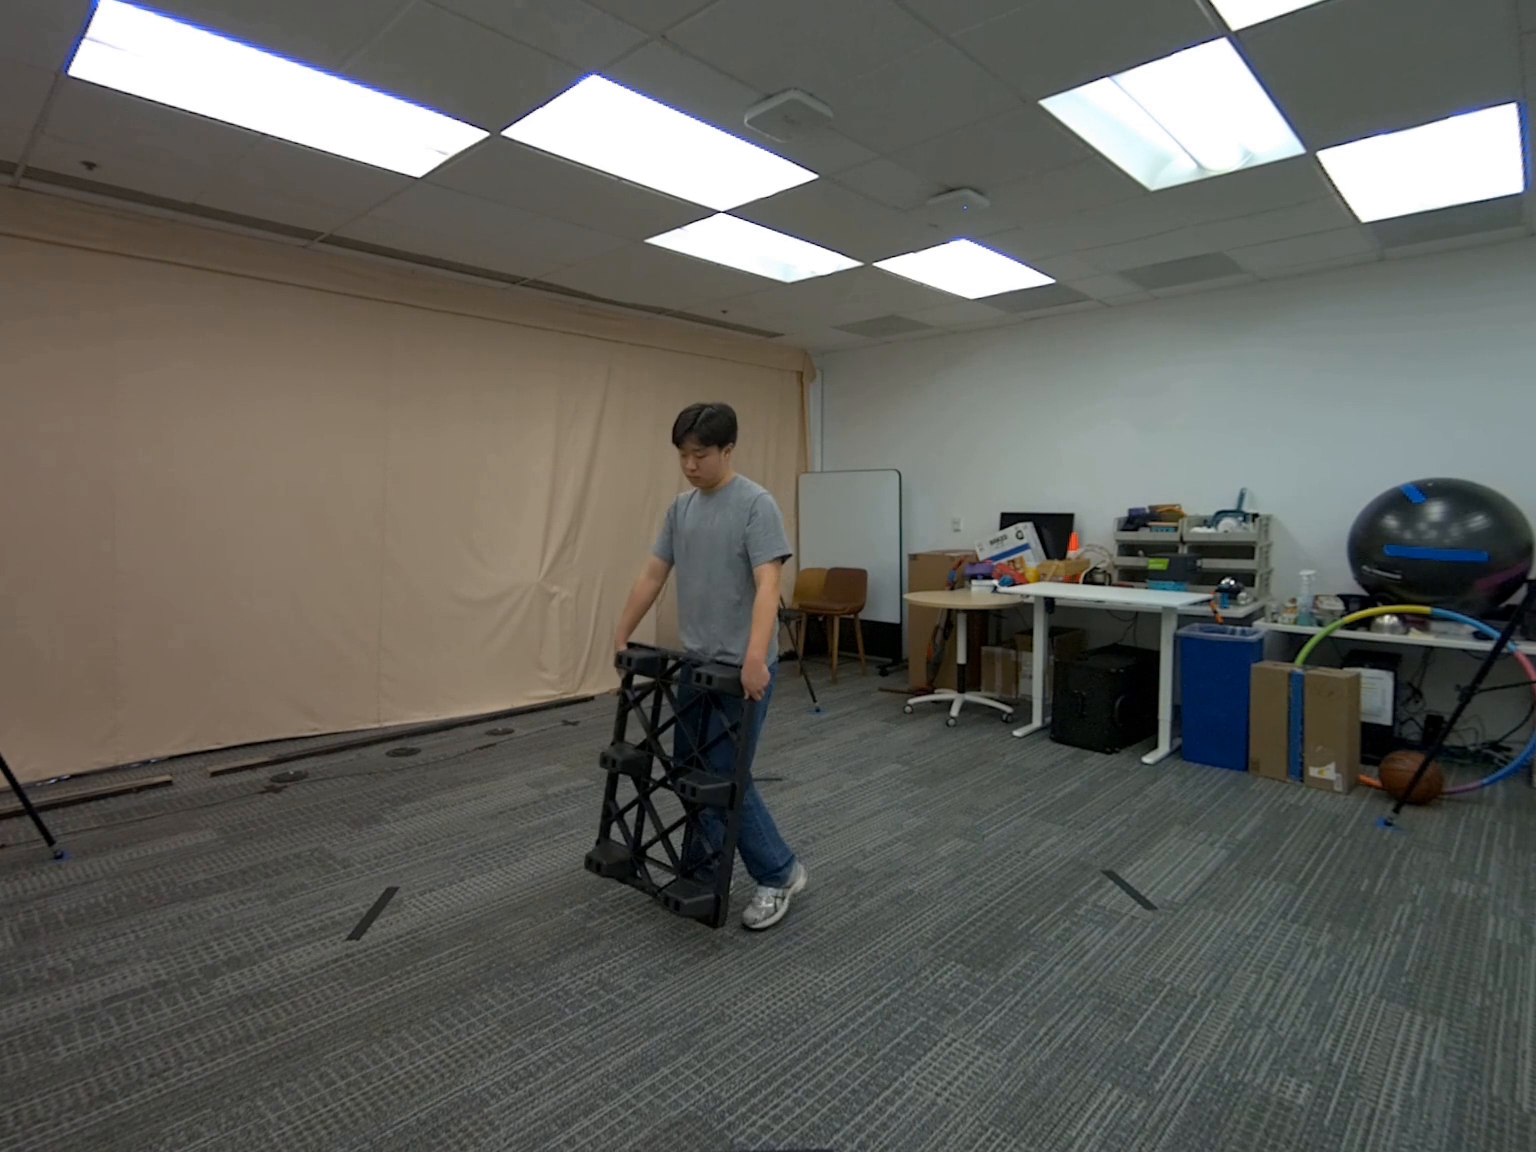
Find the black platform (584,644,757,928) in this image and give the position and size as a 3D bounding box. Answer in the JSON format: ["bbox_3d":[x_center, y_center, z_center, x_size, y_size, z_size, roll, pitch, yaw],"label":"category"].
[{"bbox_3d":[-0.337,0.663,2.739,0.626,0.807,0.138,5,-5,42],"label":"black platform"}]
